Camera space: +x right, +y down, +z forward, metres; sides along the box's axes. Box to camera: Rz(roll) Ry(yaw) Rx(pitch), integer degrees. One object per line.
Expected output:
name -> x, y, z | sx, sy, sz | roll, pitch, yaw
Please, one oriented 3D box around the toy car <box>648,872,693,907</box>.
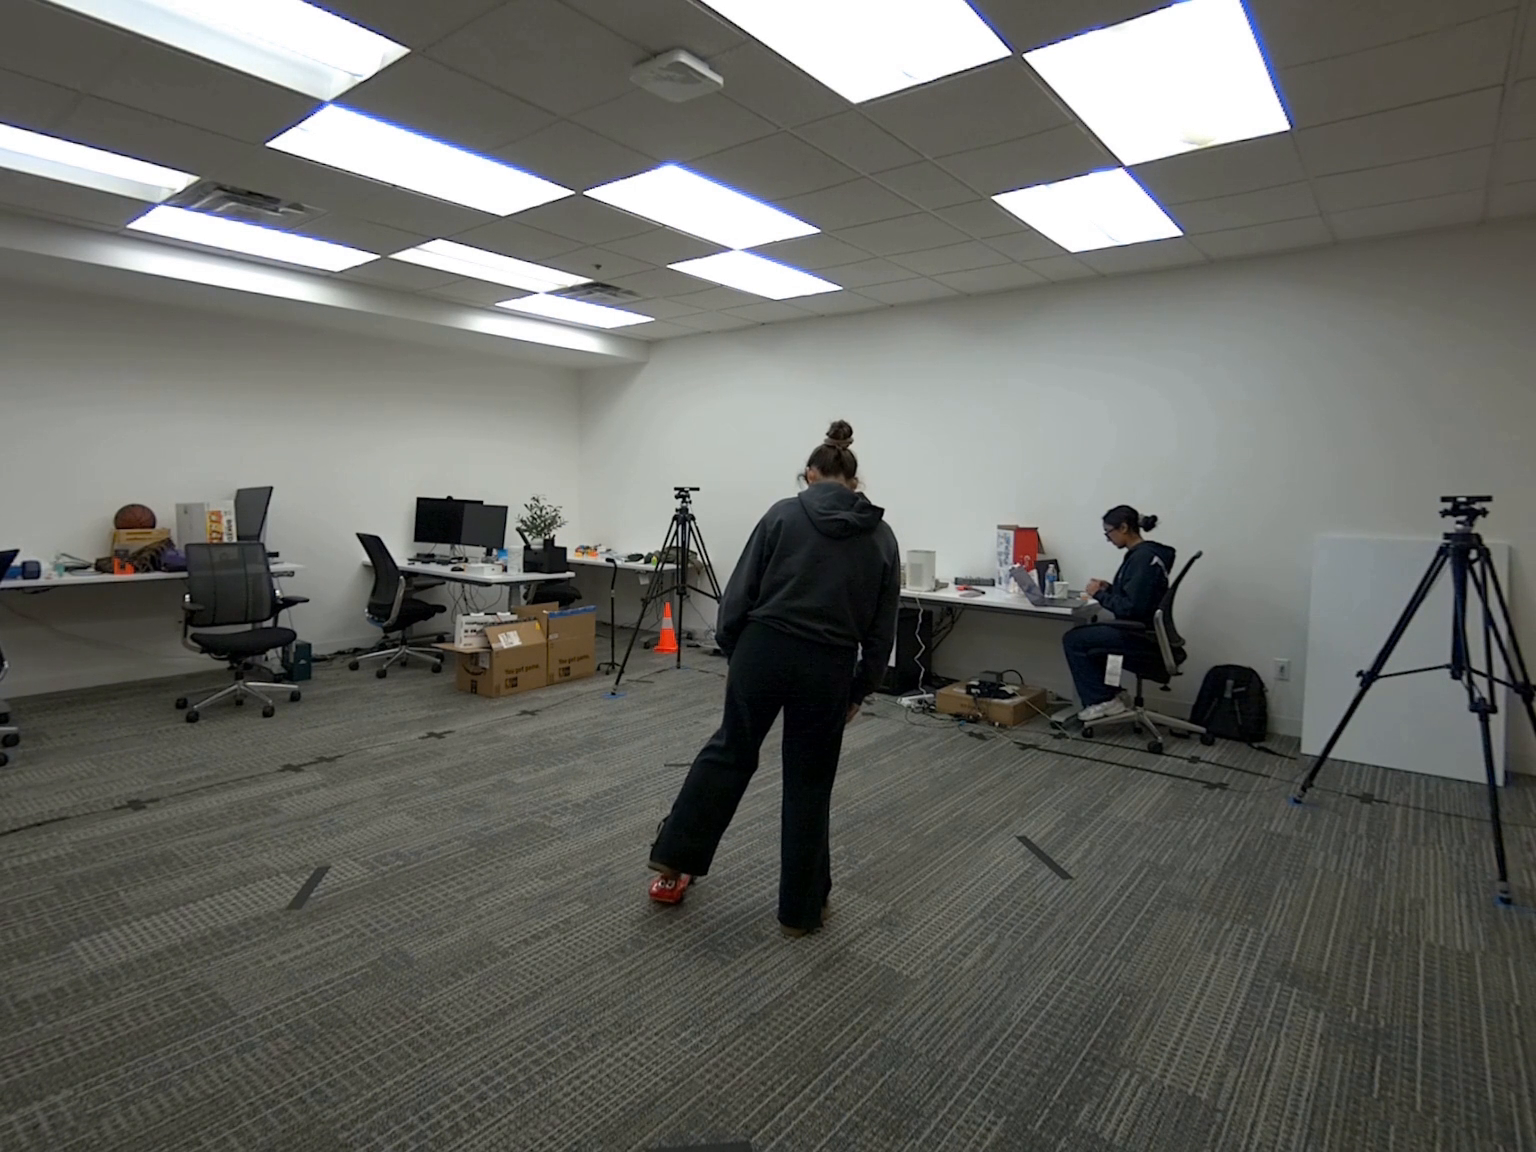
toy car -> -0.330, 1.055, 2.911 | 0.132, 0.083, 0.250 | 4, -4, 12
